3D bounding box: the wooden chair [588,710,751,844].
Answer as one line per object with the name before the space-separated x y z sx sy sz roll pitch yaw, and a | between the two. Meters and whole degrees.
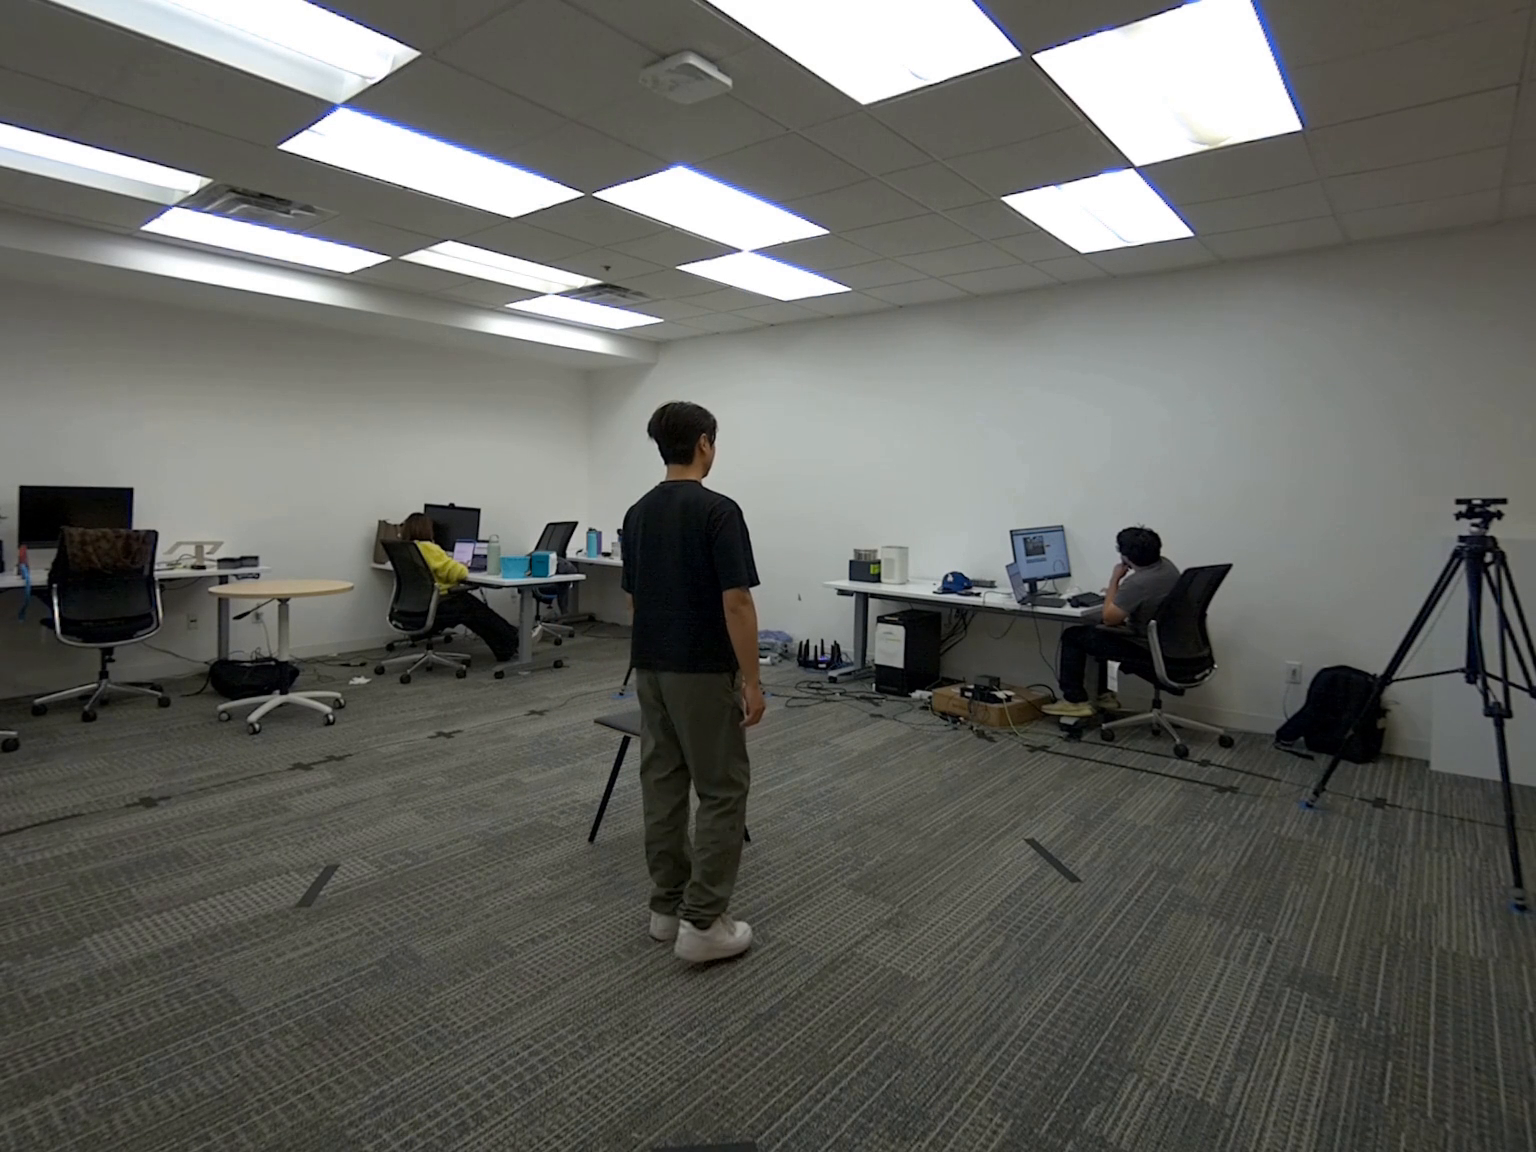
wooden chair | -0.393 0.614 3.326 0.542 0.873 0.464 9 8 39
